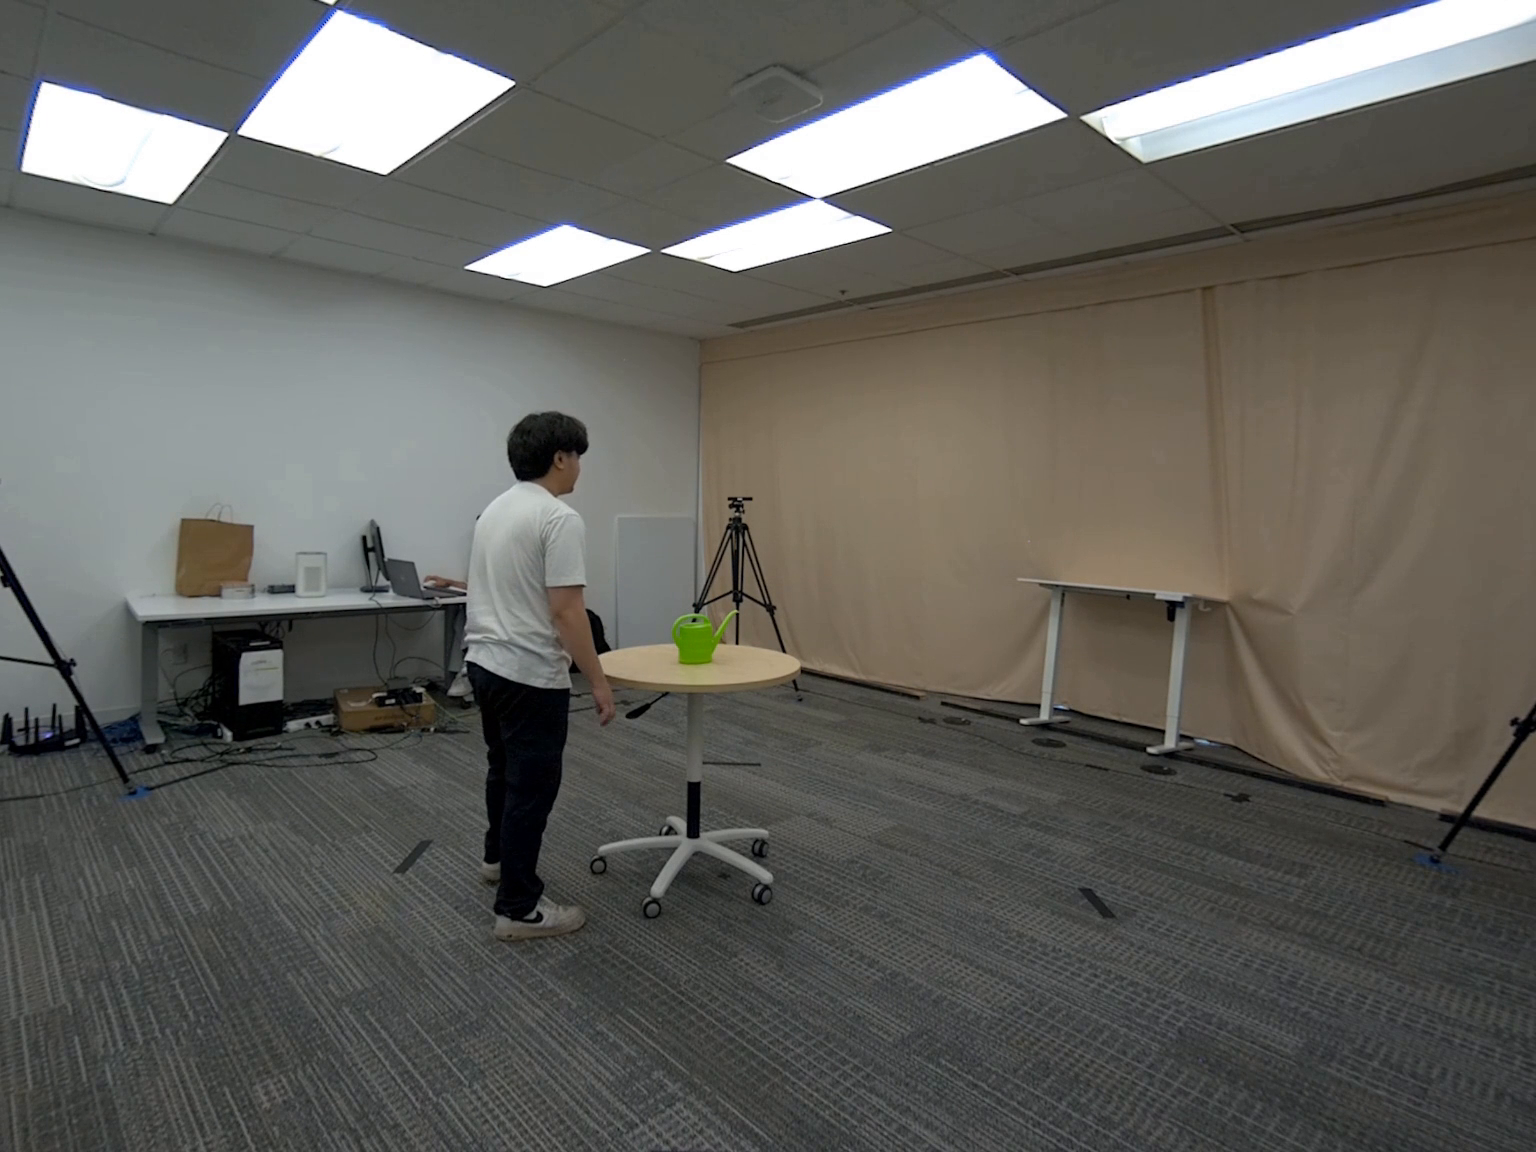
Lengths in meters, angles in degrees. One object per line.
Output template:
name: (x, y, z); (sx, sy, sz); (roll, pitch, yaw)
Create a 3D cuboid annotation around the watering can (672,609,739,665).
watering can: (-0.234, 0.226, 3.081); (0.274, 0.176, 0.100); (-2, 8, -20)
